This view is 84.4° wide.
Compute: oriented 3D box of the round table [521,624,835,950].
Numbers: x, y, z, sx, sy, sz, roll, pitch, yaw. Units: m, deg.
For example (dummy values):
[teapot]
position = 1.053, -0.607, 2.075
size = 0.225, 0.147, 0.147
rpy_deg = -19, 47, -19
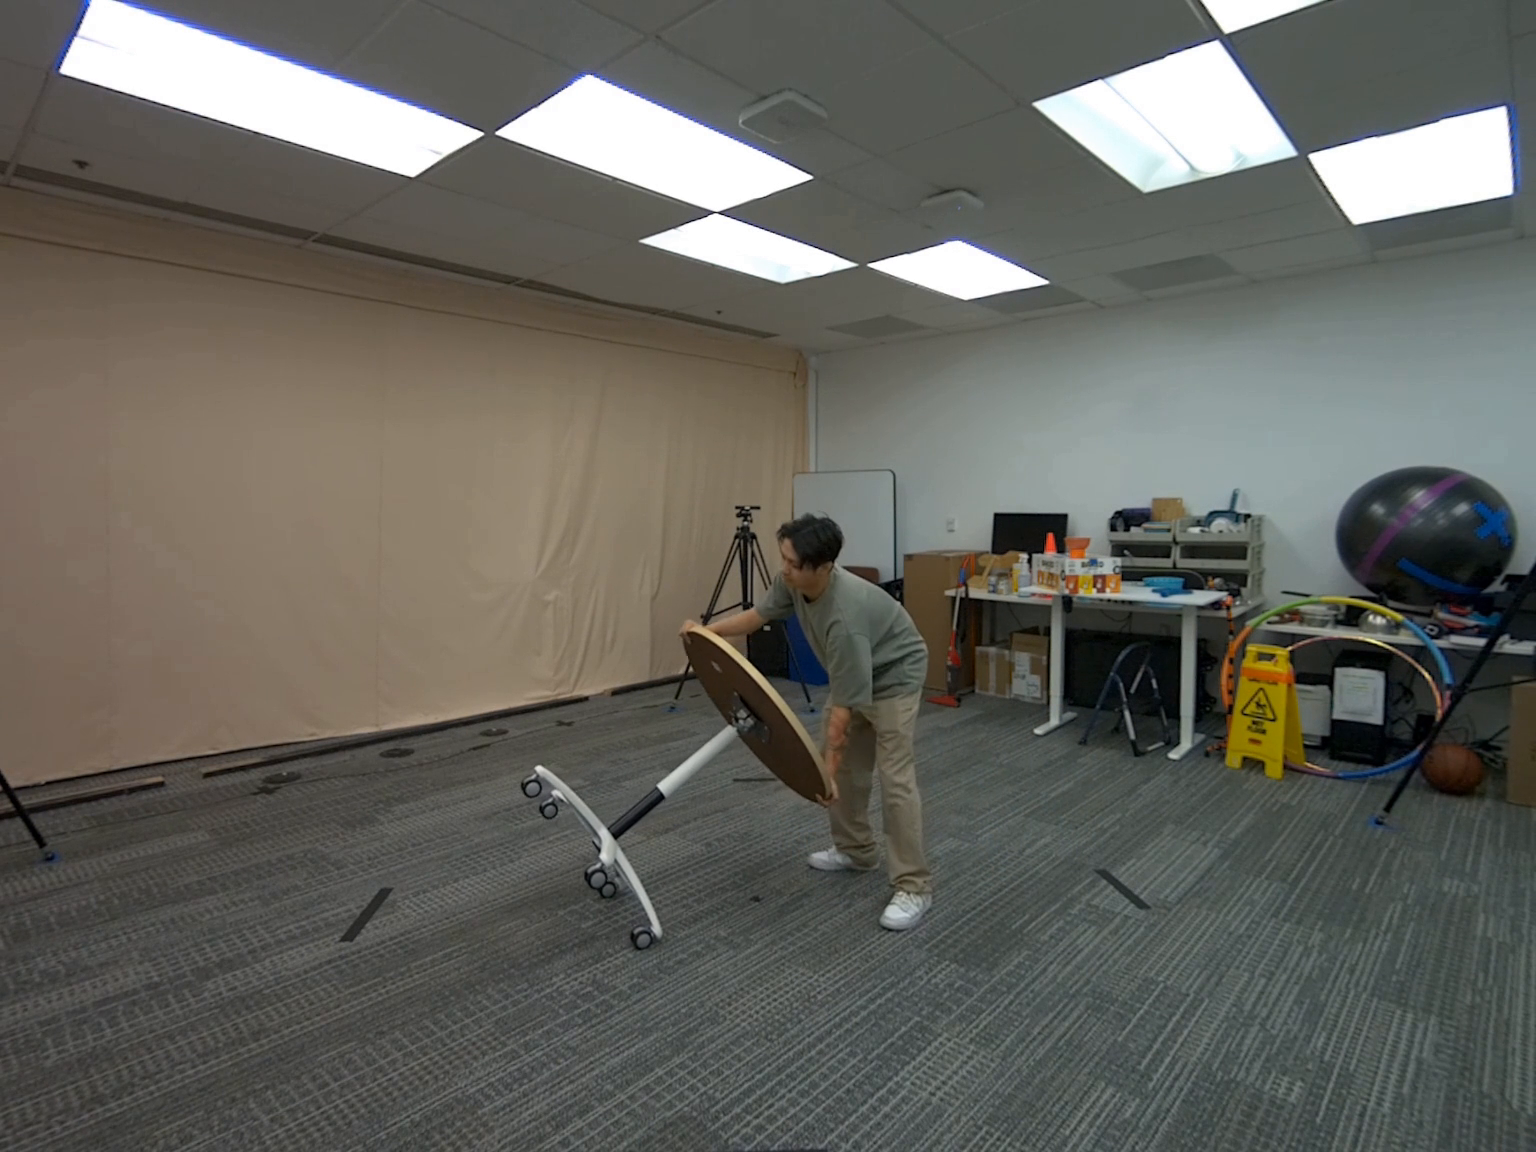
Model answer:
[round table]
position = -0.344, 0.714, 2.902
size = 0.779, 0.772, 0.806
rpy_deg = -37, 18, -19
